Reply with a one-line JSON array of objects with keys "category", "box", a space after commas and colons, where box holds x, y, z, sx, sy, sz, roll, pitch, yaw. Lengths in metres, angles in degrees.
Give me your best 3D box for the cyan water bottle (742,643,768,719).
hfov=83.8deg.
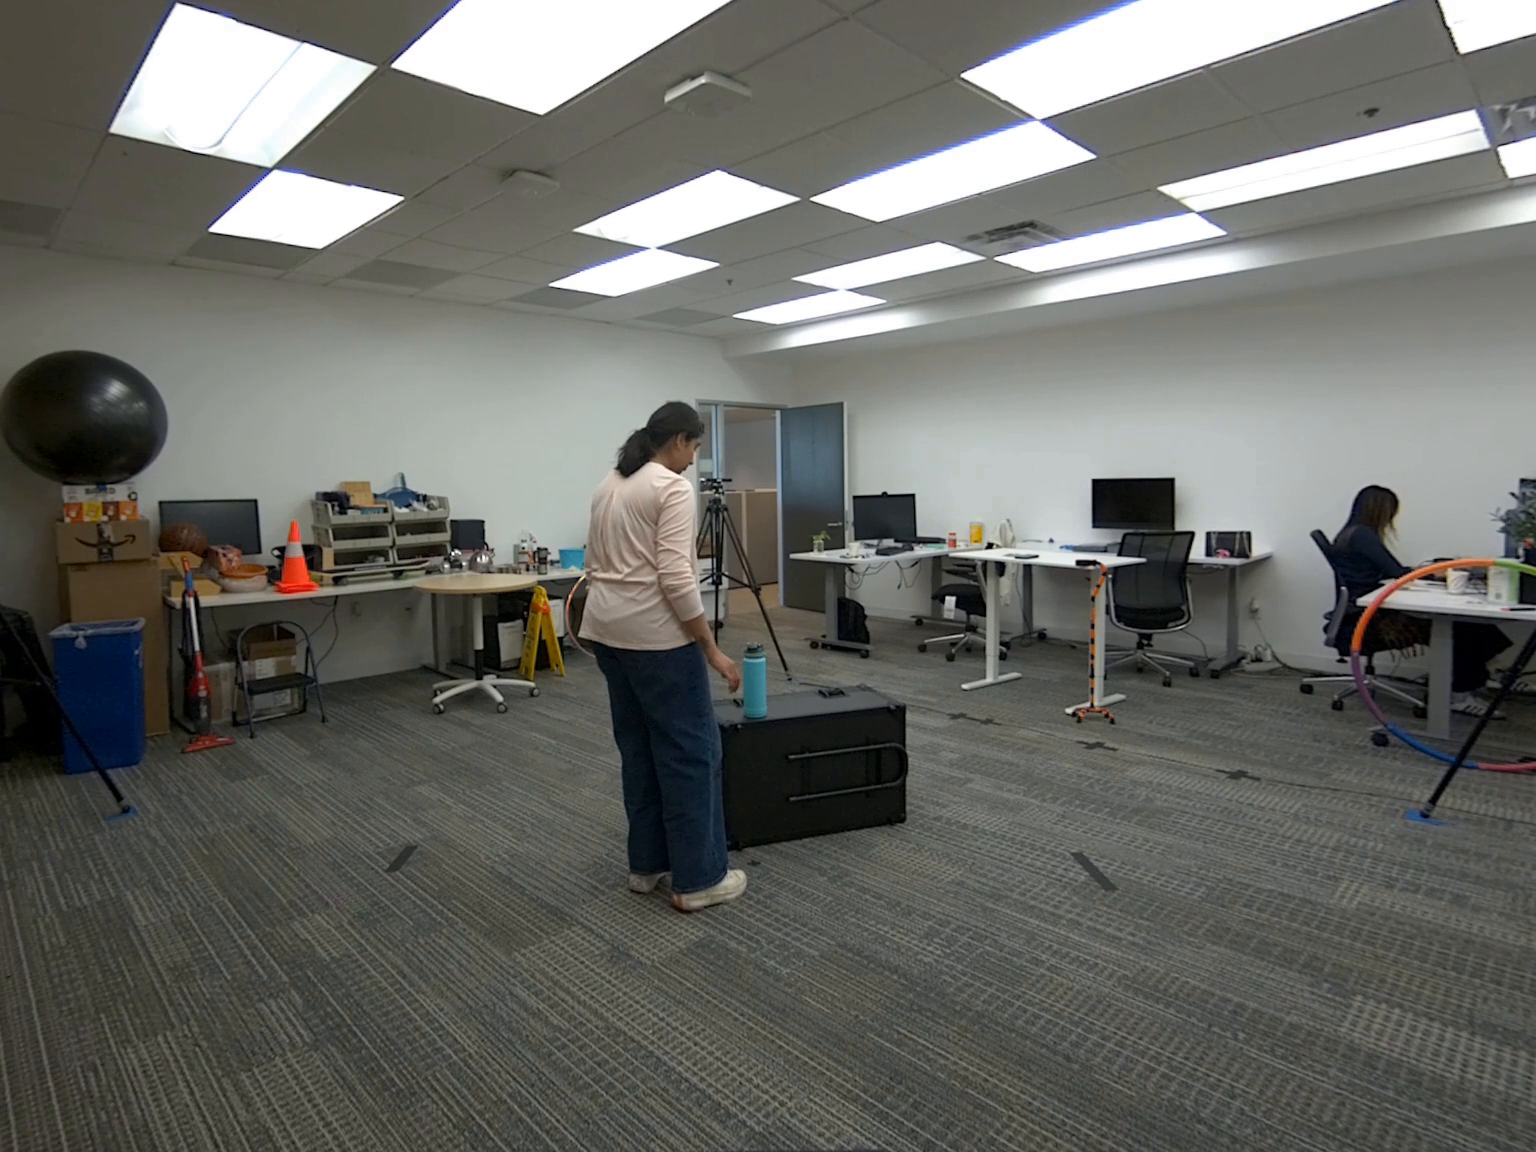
[{"category": "cyan water bottle", "box": [-0.046, 0.395, 3.319, 0.092, 0.283, 0.092, -1, 2, -2]}]
